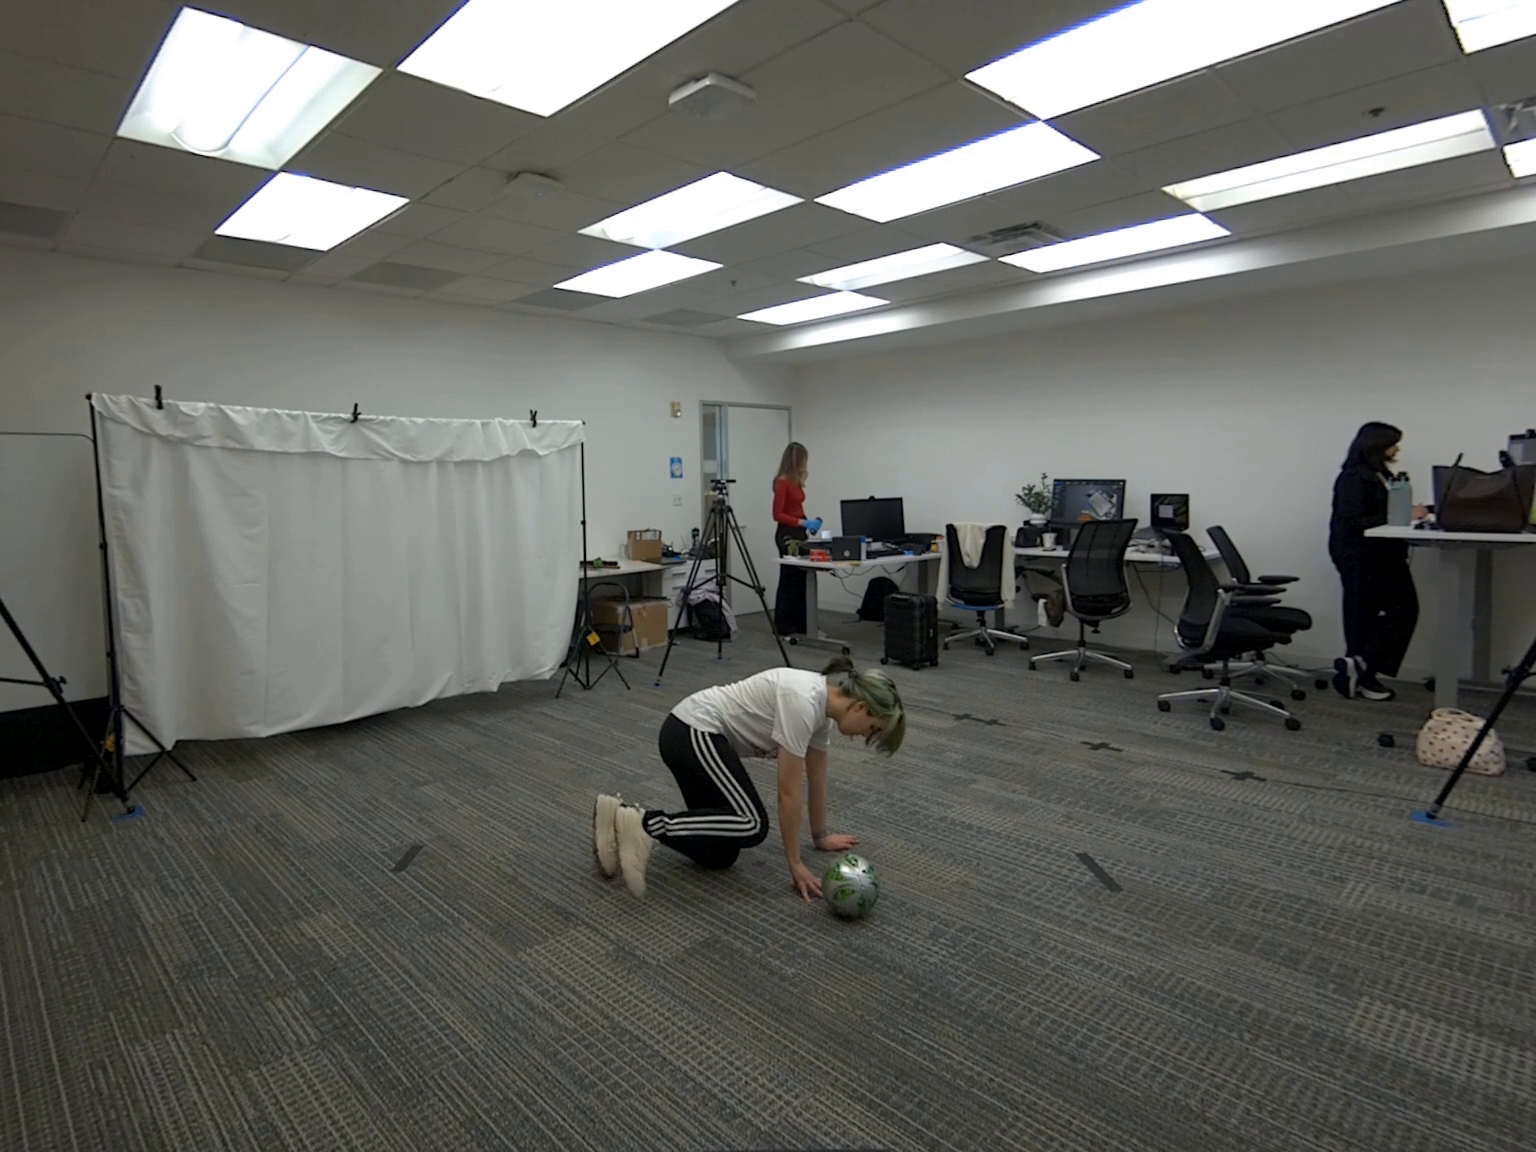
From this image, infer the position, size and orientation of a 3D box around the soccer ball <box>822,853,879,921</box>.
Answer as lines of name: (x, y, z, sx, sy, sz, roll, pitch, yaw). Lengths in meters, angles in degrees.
soccer ball: (0.266, 0.990, 2.728, 0.187, 0.187, 0.188, -1, 5, -2)
